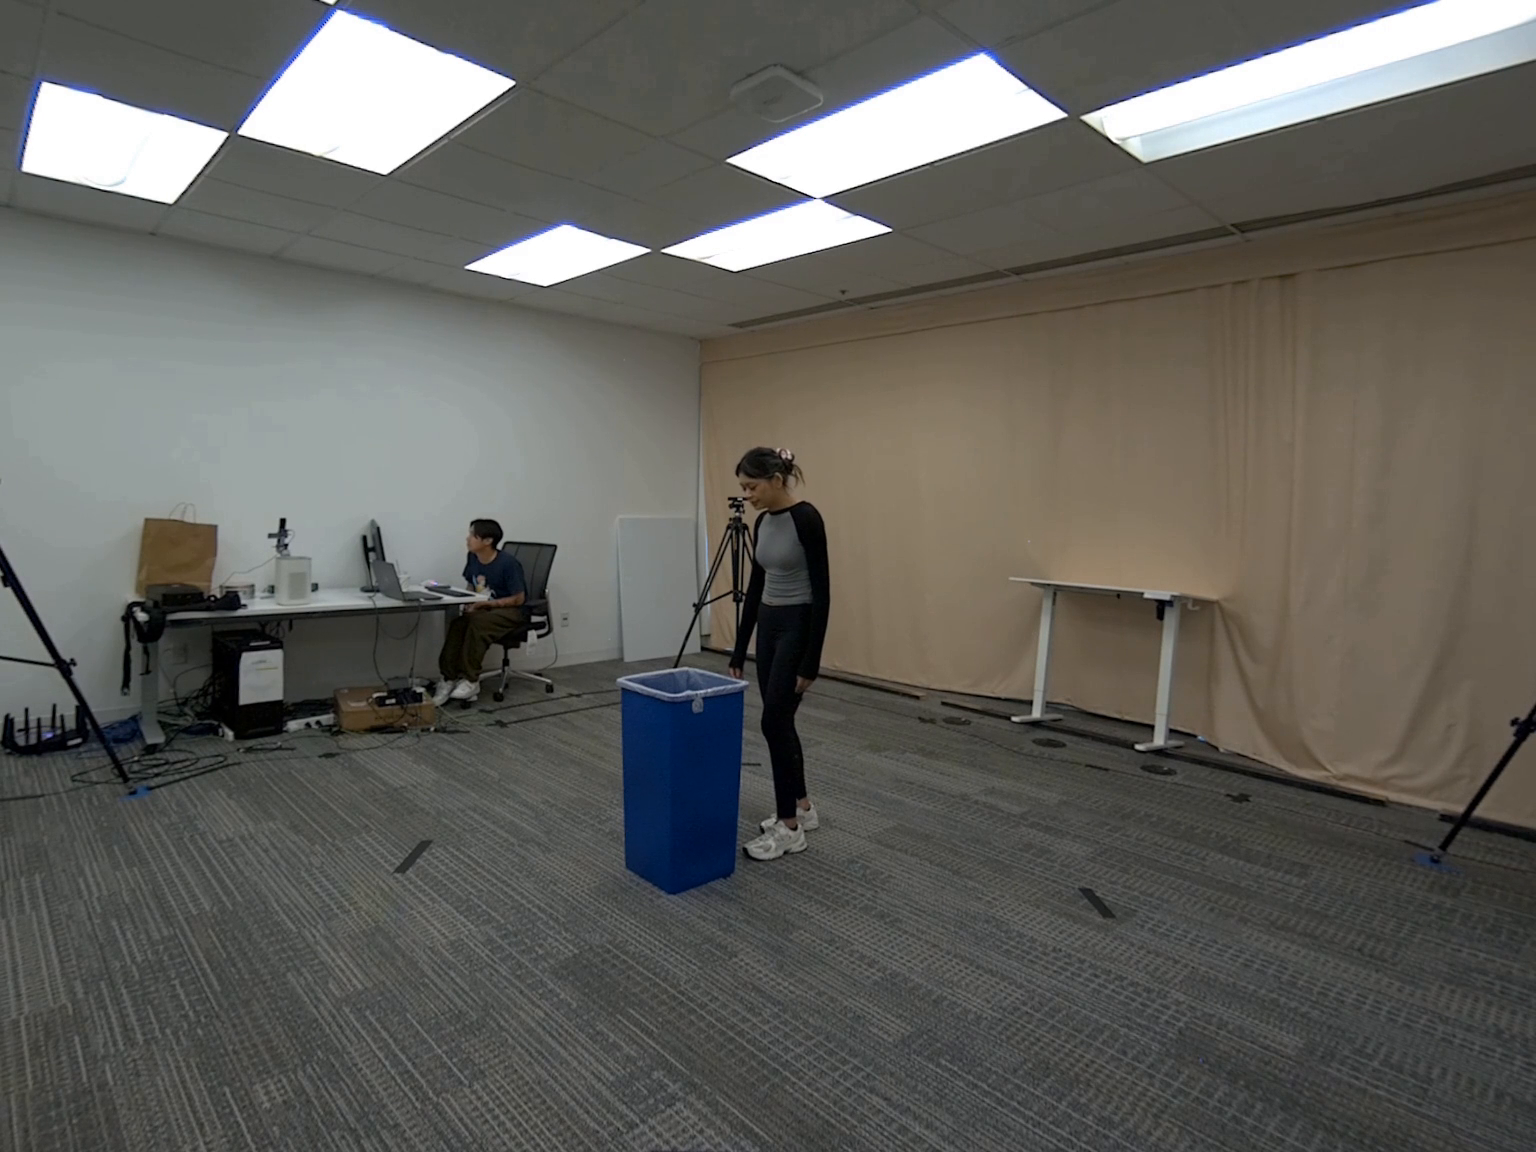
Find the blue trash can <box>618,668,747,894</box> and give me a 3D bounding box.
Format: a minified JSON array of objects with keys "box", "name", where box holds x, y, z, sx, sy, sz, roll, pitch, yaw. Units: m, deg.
[{"box":[-0.337,0.744,3.133,0.369,0.712,0.384,-1,4,-42],"name":"blue trash can"}]
